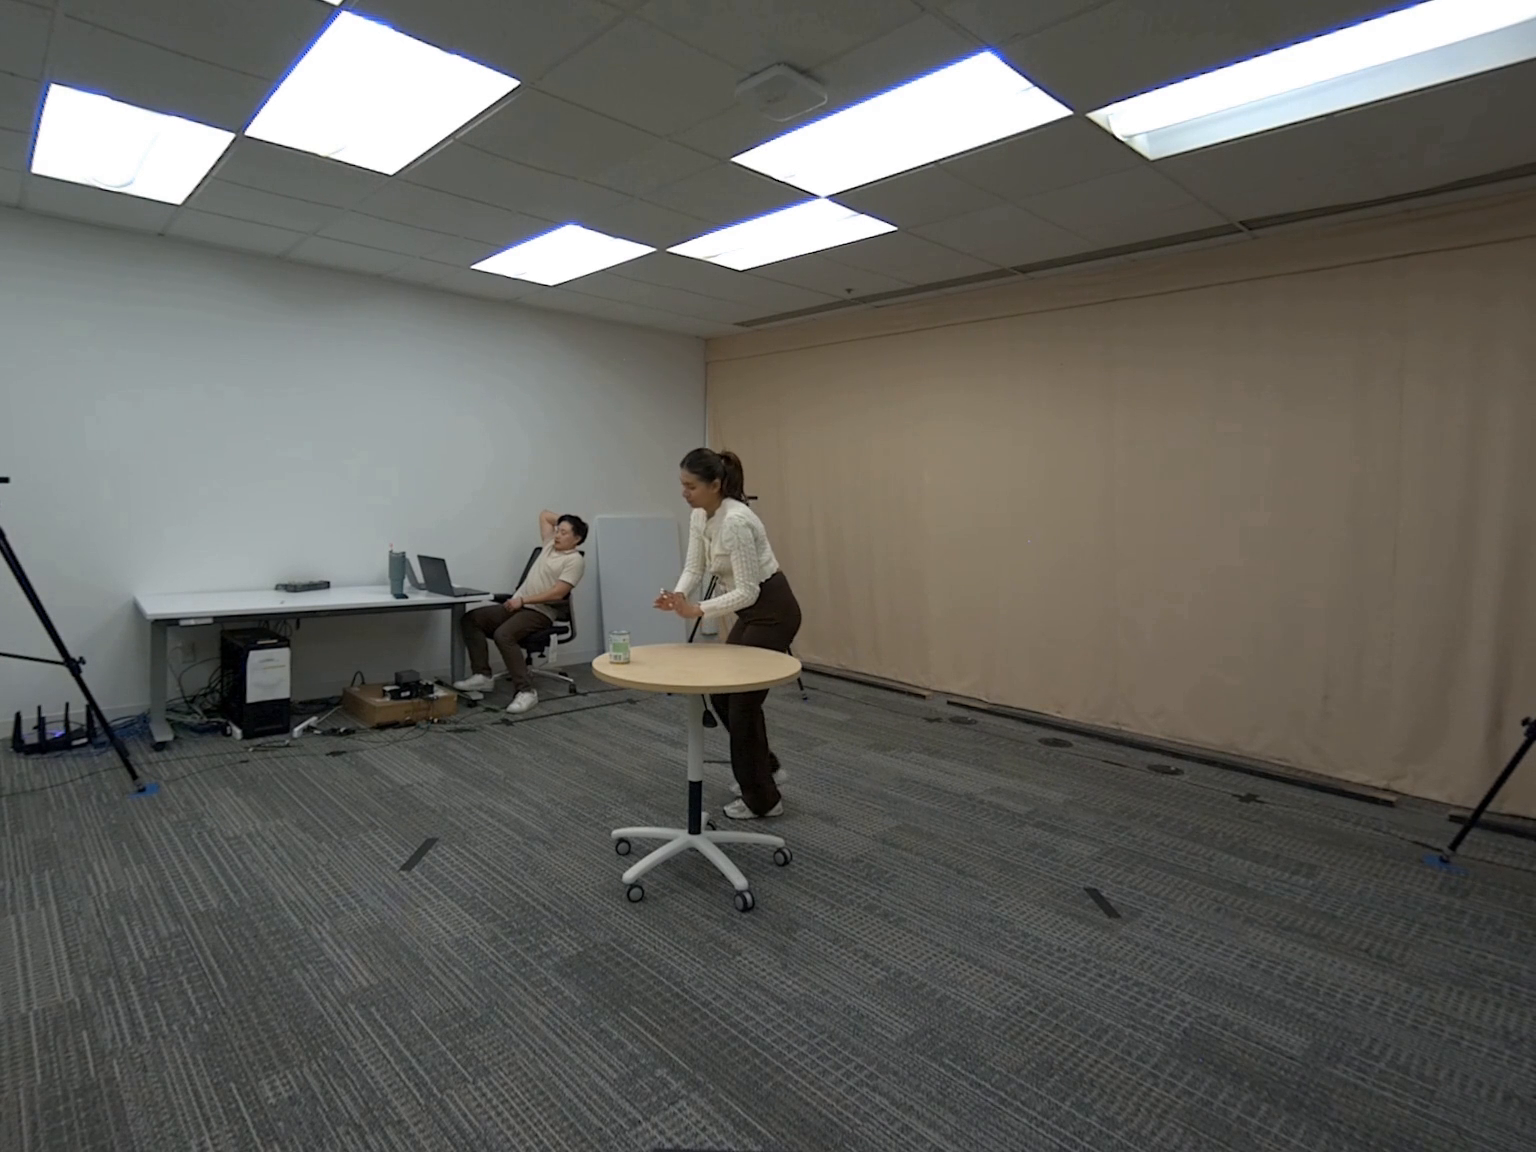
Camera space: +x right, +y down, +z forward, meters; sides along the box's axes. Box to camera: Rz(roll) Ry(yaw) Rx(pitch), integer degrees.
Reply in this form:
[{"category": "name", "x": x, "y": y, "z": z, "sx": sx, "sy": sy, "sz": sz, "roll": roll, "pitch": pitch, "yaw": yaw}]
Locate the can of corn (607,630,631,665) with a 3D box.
[{"category": "can of corn", "x": -0.549, "y": 0.263, "z": 3.061, "sx": 0.074, "sy": 0.111, "sz": 0.074, "roll": -1, "pitch": 2, "yaw": -1}]
